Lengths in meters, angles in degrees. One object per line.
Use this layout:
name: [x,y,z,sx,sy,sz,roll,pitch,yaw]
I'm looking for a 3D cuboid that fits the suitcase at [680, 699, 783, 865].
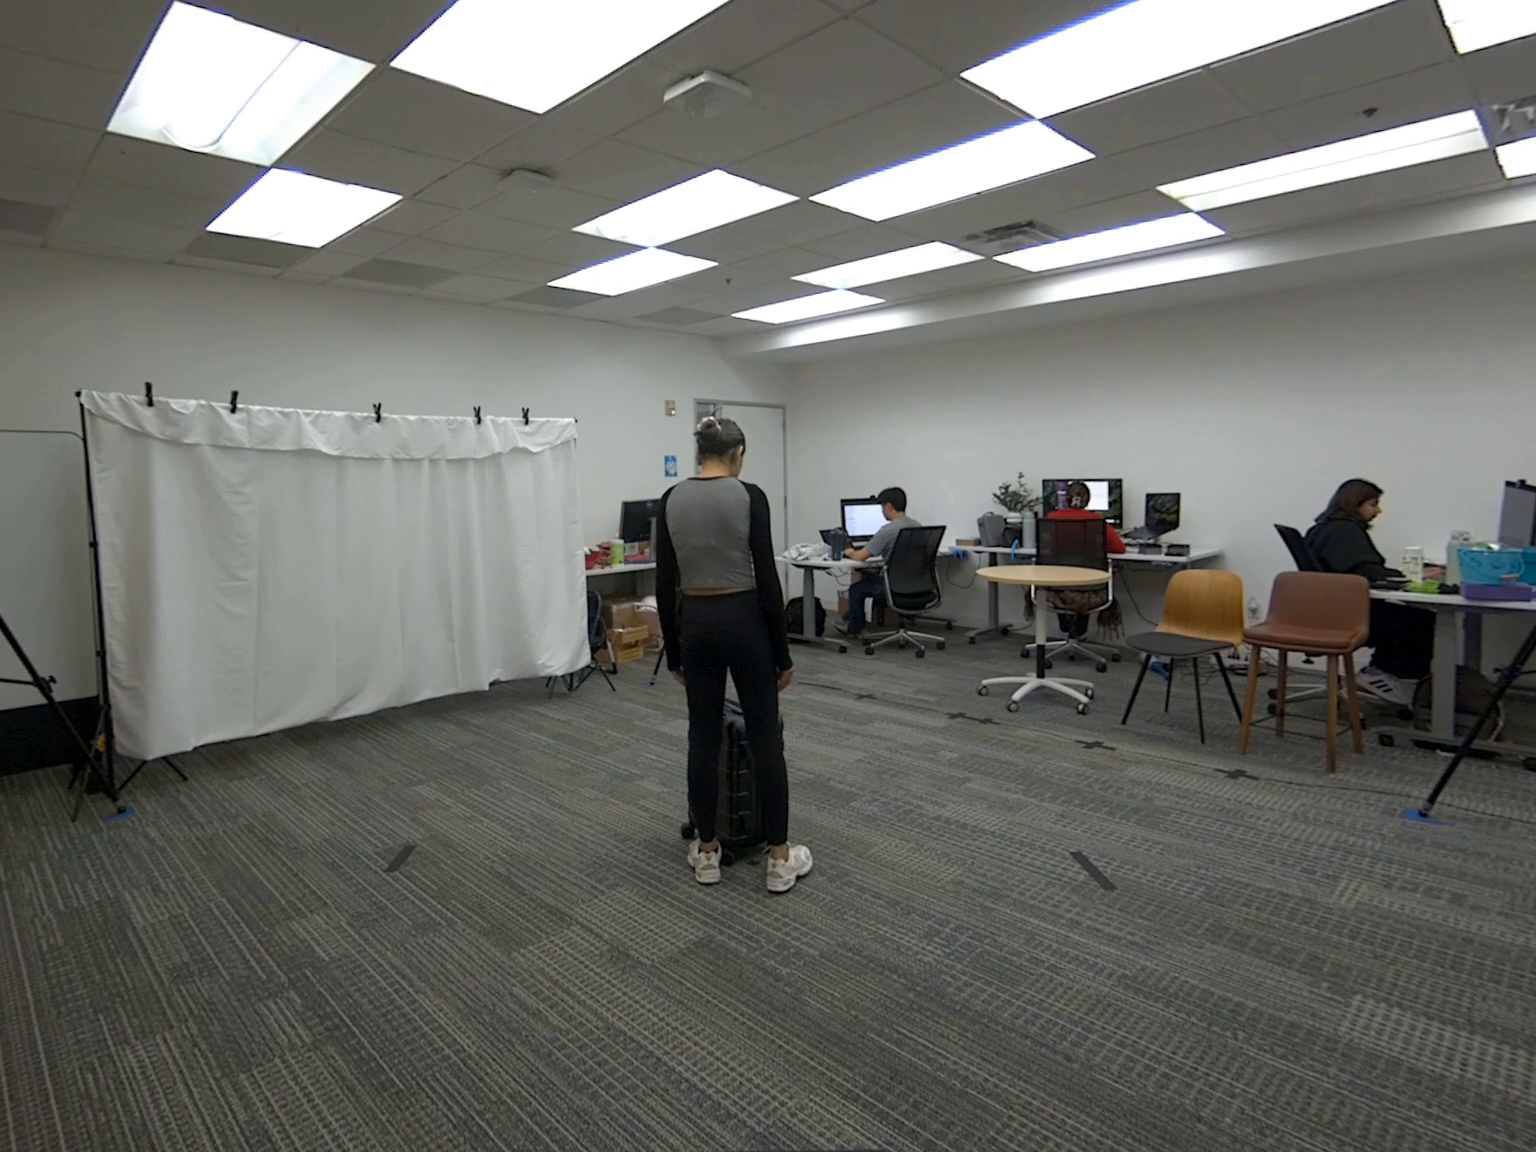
suitcase: [-0.125,0.753,3.264,0.242,0.548,0.386,-1,3,-34]
